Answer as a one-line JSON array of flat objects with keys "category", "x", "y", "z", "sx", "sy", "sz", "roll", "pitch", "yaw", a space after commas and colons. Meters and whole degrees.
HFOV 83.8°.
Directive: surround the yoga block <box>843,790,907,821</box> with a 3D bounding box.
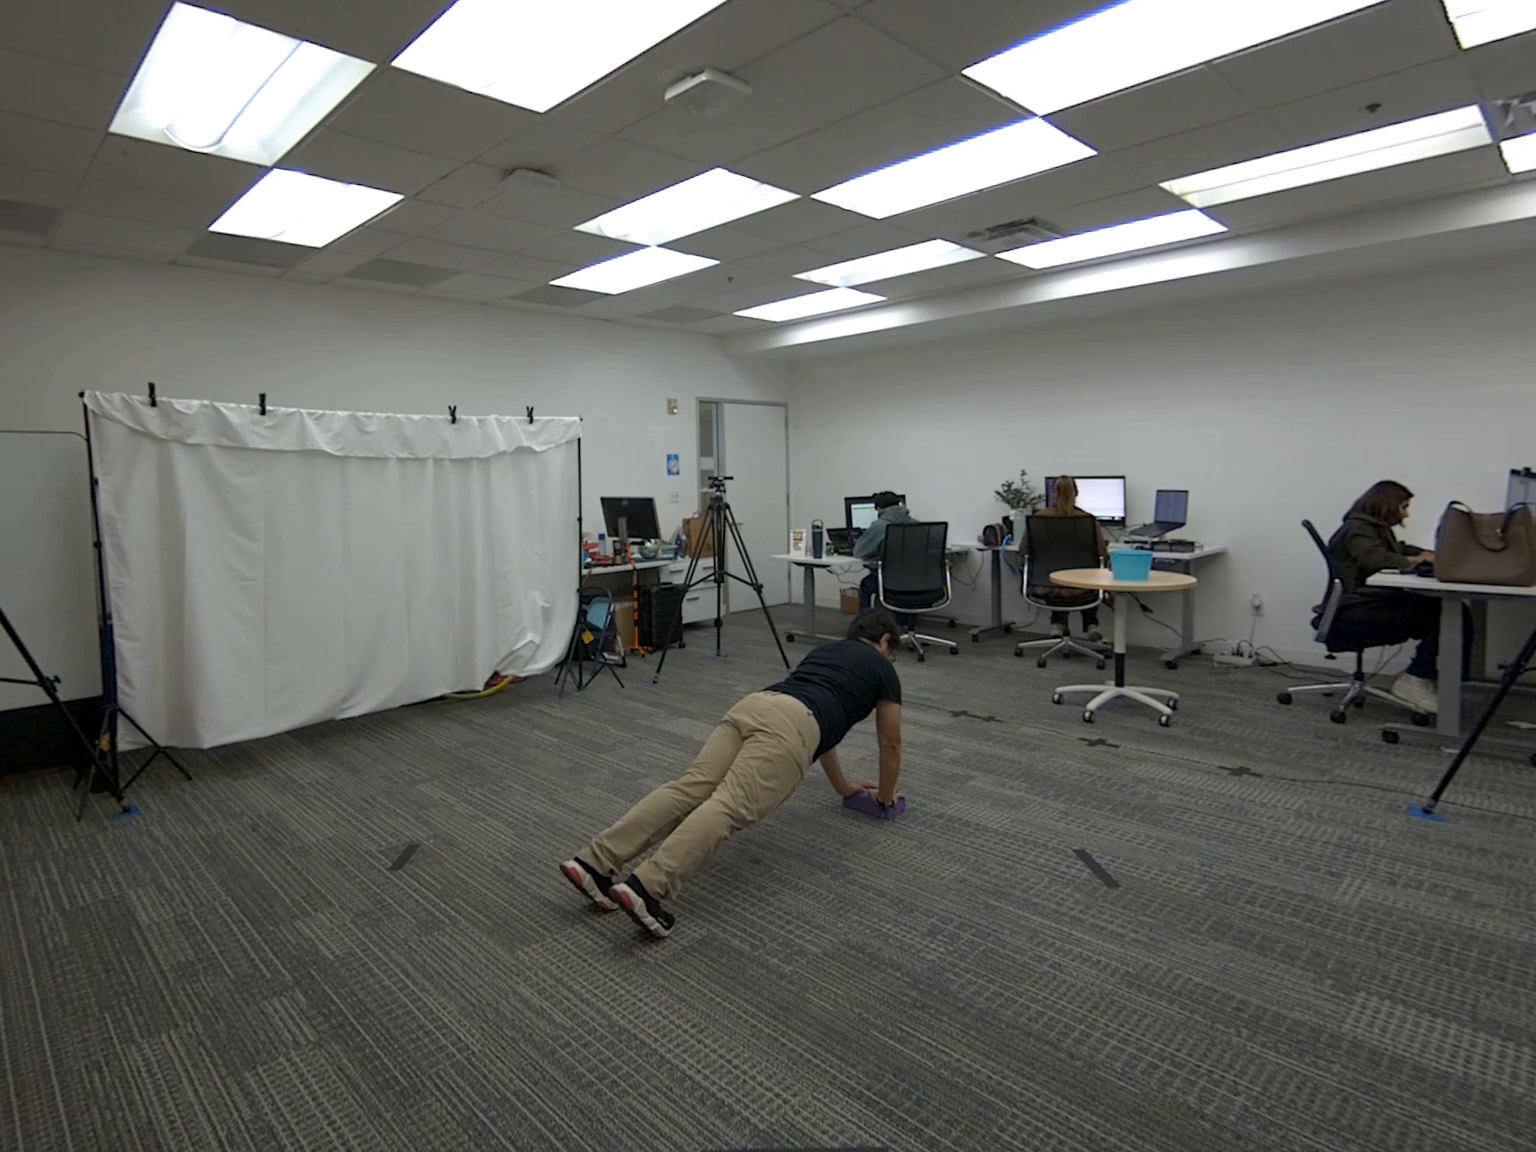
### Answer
[{"category": "yoga block", "x": 0.446, "y": 0.936, "z": 3.583, "sx": 0.236, "sy": 0.076, "sz": 0.145, "roll": 5, "pitch": 7, "yaw": 42}]
